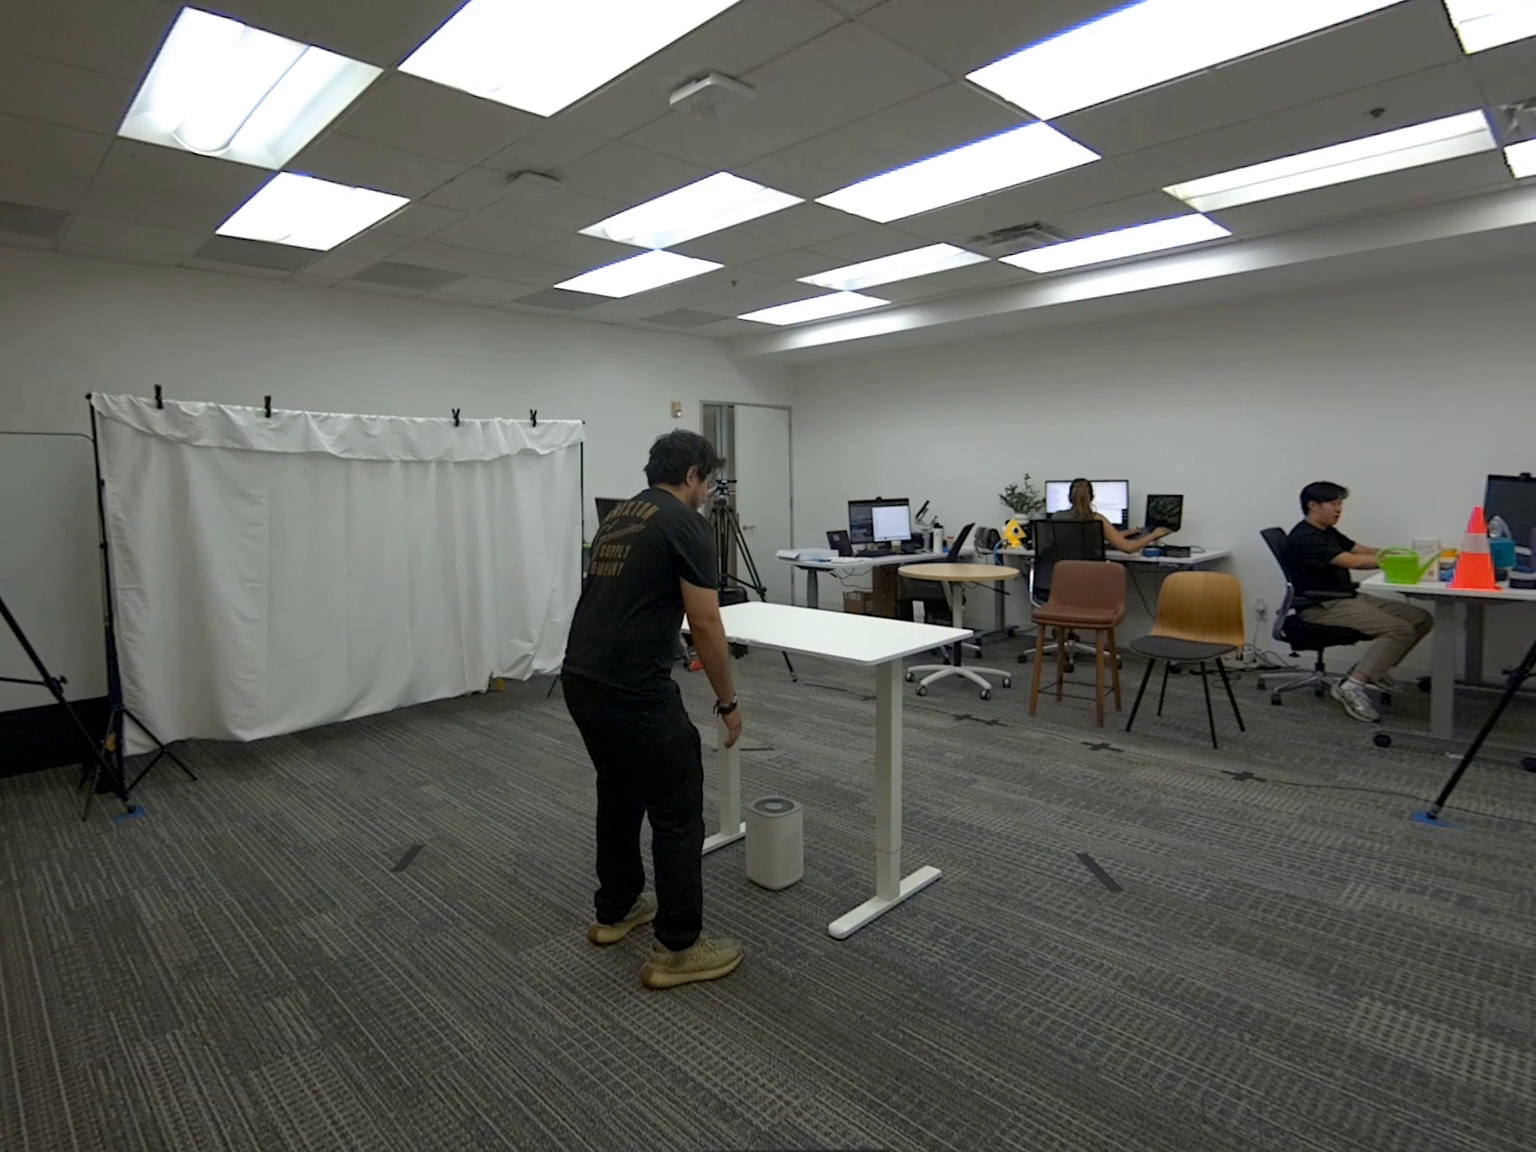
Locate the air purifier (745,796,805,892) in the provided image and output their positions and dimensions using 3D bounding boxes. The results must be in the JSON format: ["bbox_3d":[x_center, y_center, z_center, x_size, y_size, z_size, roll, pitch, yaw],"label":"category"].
[{"bbox_3d":[0.025,0.924,2.975,0.176,0.264,0.167,3,6,44],"label":"air purifier"}]
